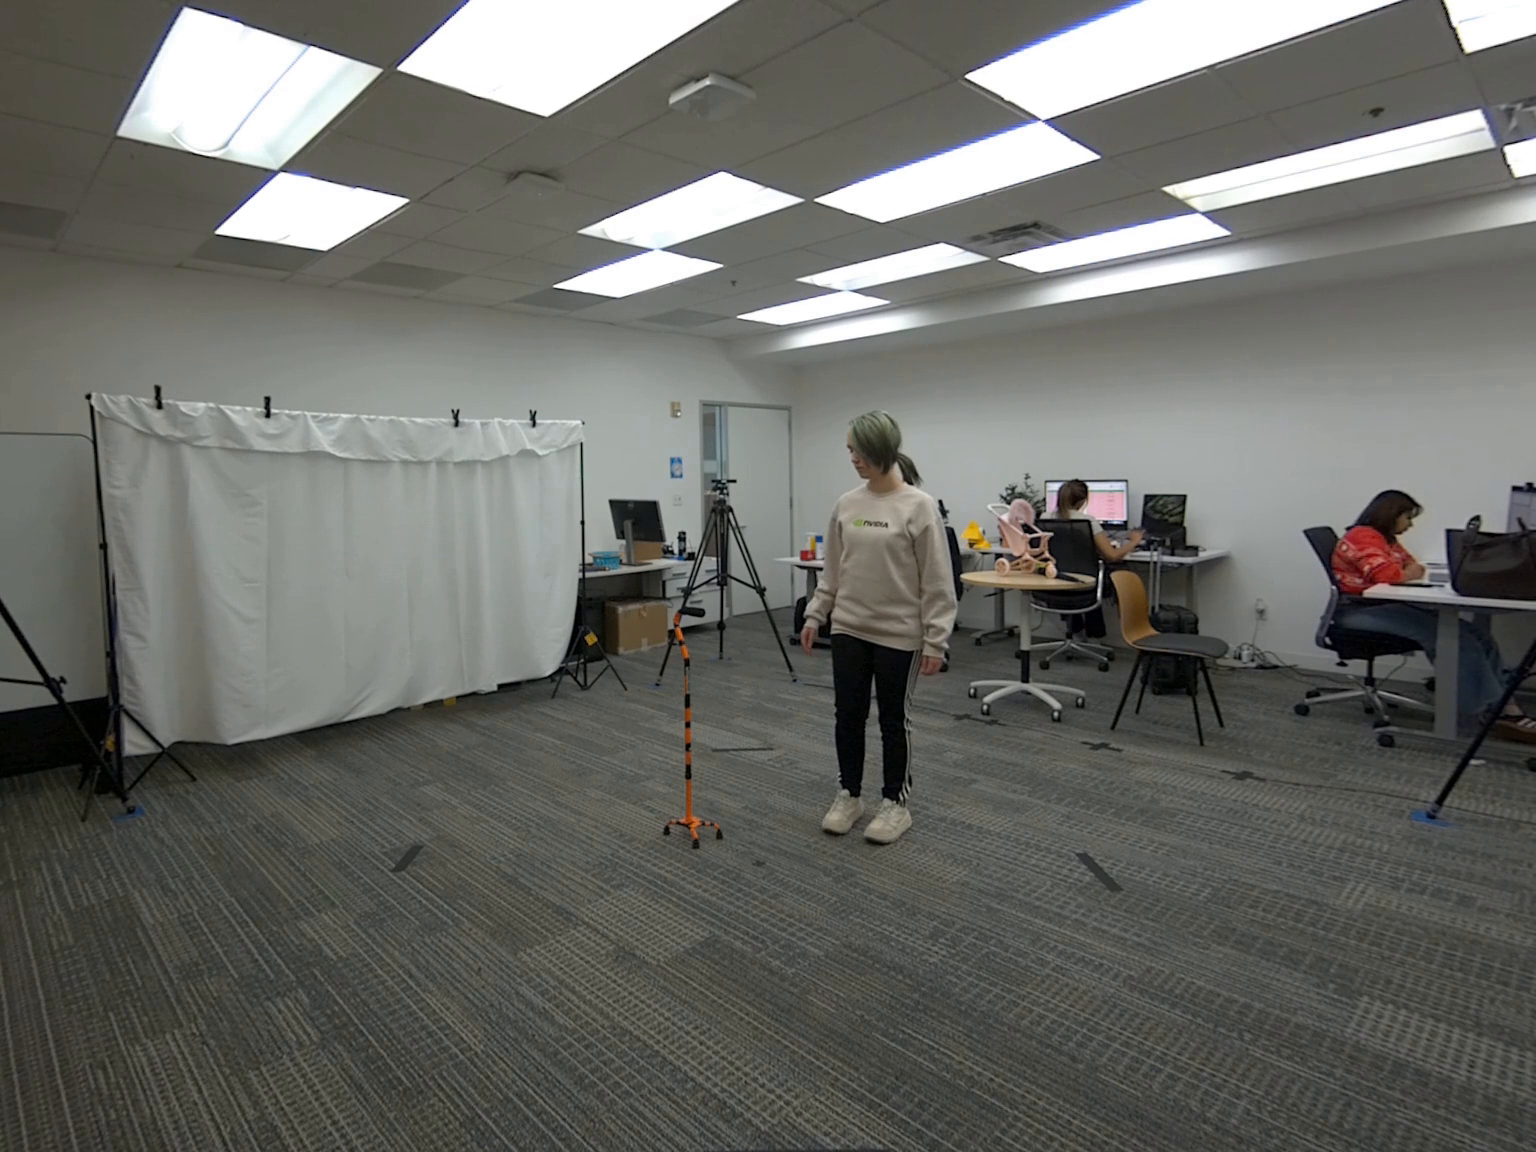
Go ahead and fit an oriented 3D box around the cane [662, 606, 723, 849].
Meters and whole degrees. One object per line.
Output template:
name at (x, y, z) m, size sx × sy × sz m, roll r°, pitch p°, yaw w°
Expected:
cane at (-0.301, 0.573, 3.322) m, size 0.148 × 0.904 × 0.213 m, roll -6°, pitch 6°, yaw -42°
